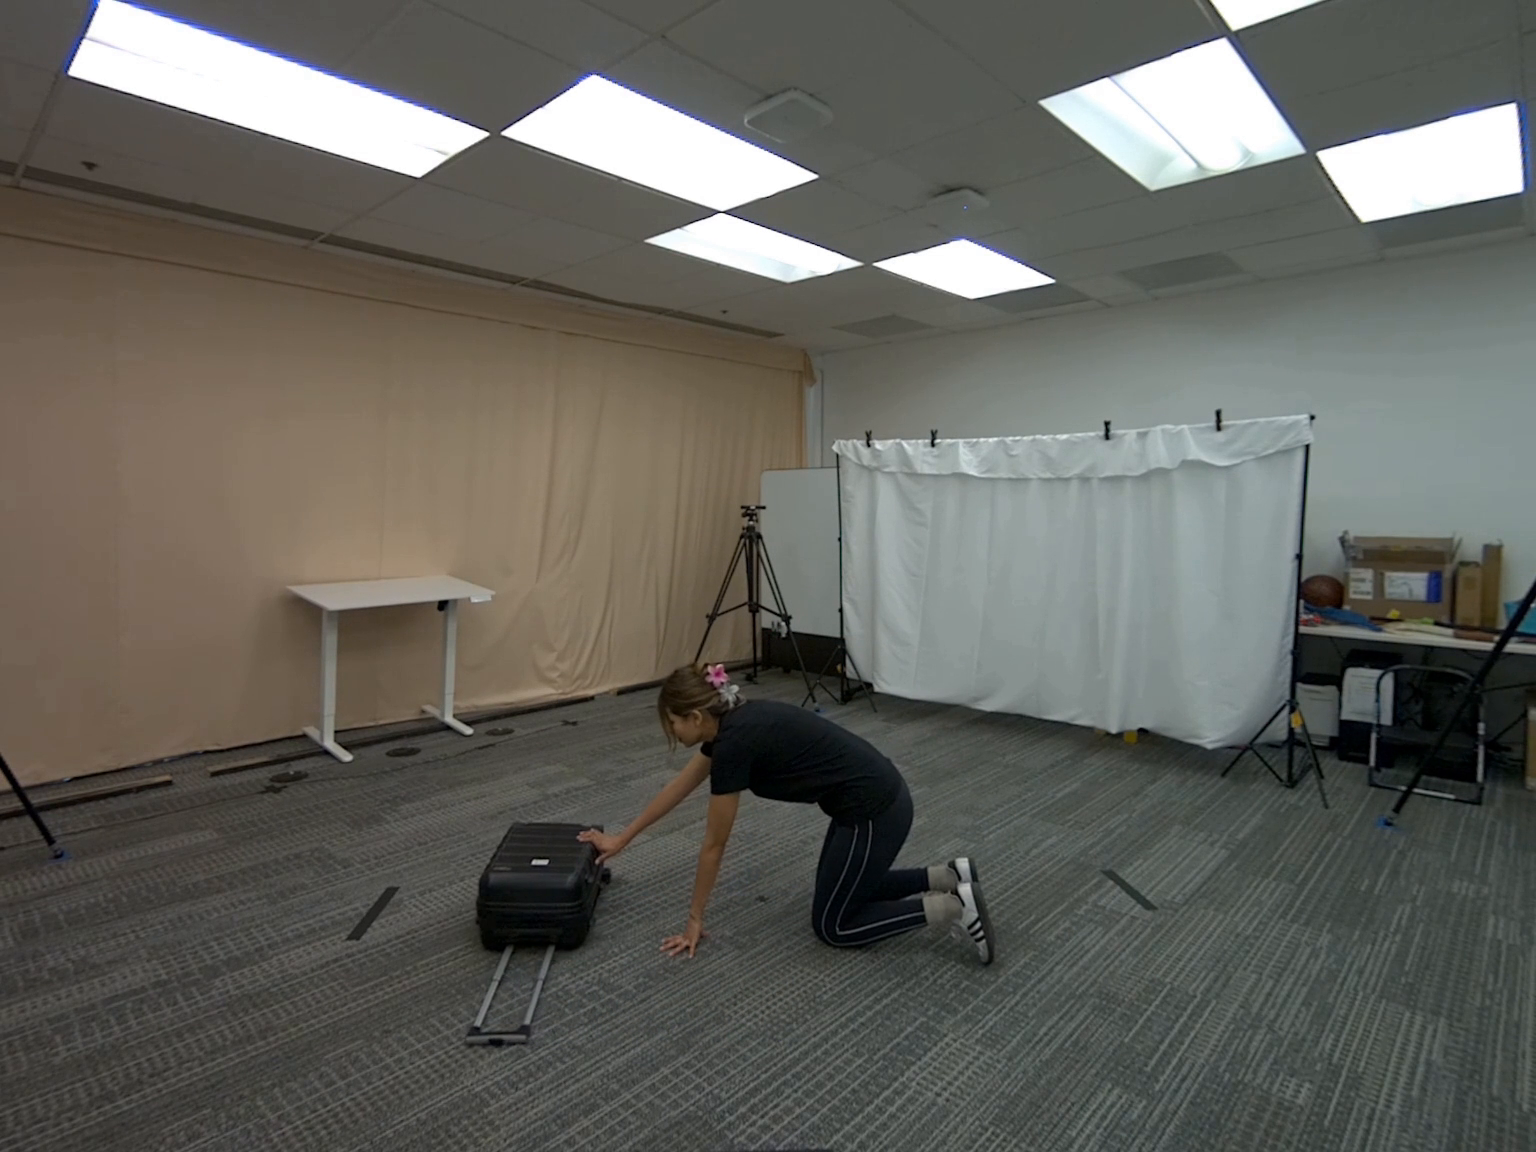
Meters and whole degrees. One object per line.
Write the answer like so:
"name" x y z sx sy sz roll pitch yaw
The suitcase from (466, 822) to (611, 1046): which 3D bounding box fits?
"suitcase" -0.745 1.055 2.665 0.383 0.257 0.982 1 3 -4
